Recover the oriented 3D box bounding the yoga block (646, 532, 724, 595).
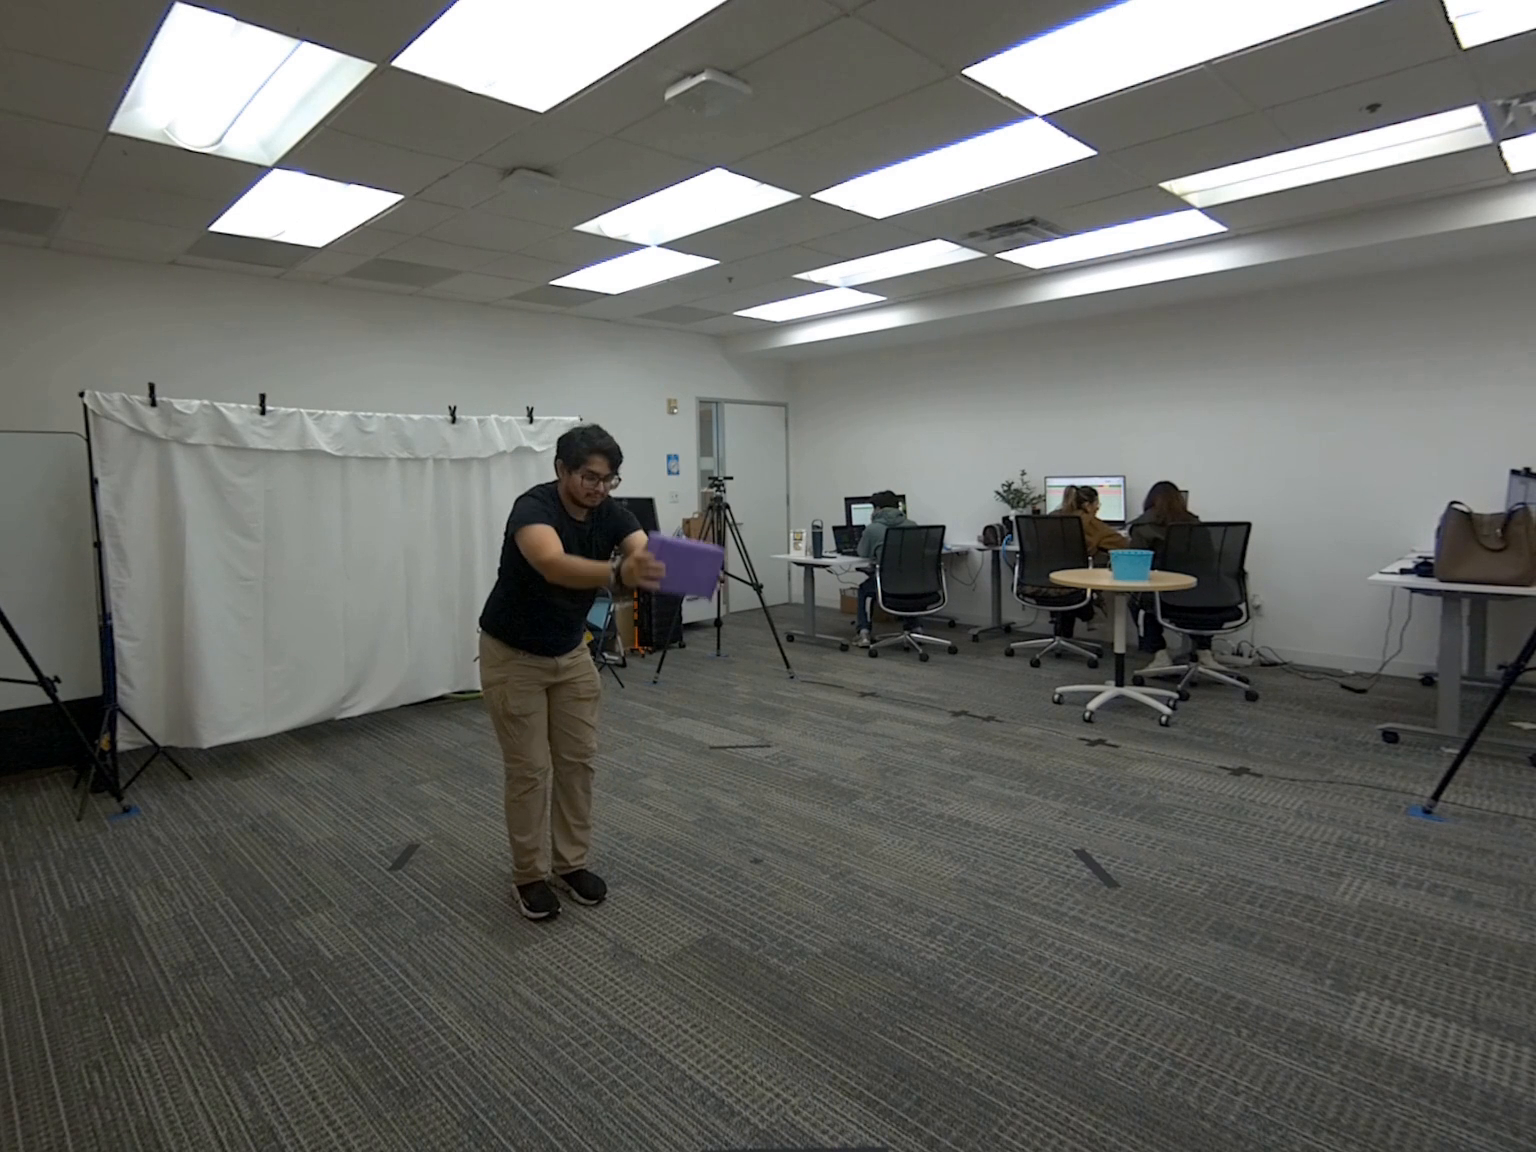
[{"bbox_3d":[-0.260,-0.075,2.353,0.221,0.149,0.079,16,3,-38],"label":"yoga block"}]
